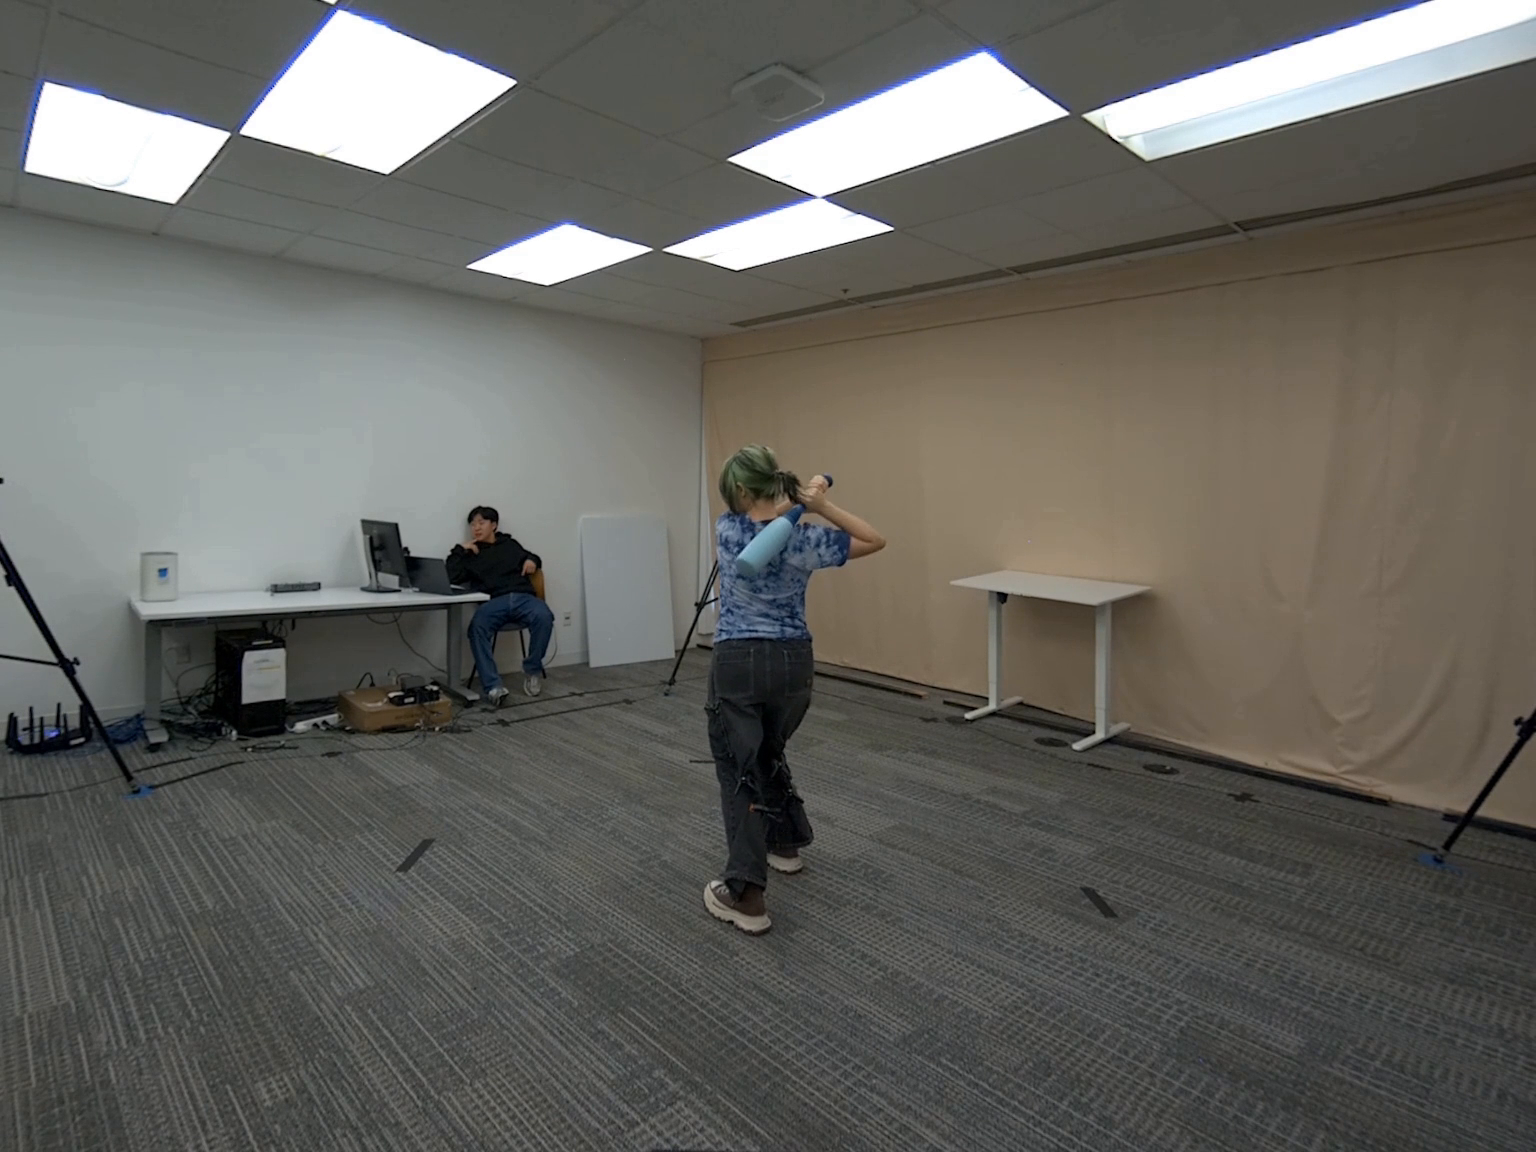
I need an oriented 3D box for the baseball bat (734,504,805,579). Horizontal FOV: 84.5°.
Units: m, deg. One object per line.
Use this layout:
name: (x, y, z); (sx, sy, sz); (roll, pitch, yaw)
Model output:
baseball bat: (0.062, -0.187, 2.860); (0.091, 0.087, 0.543); (5, 40, 40)
